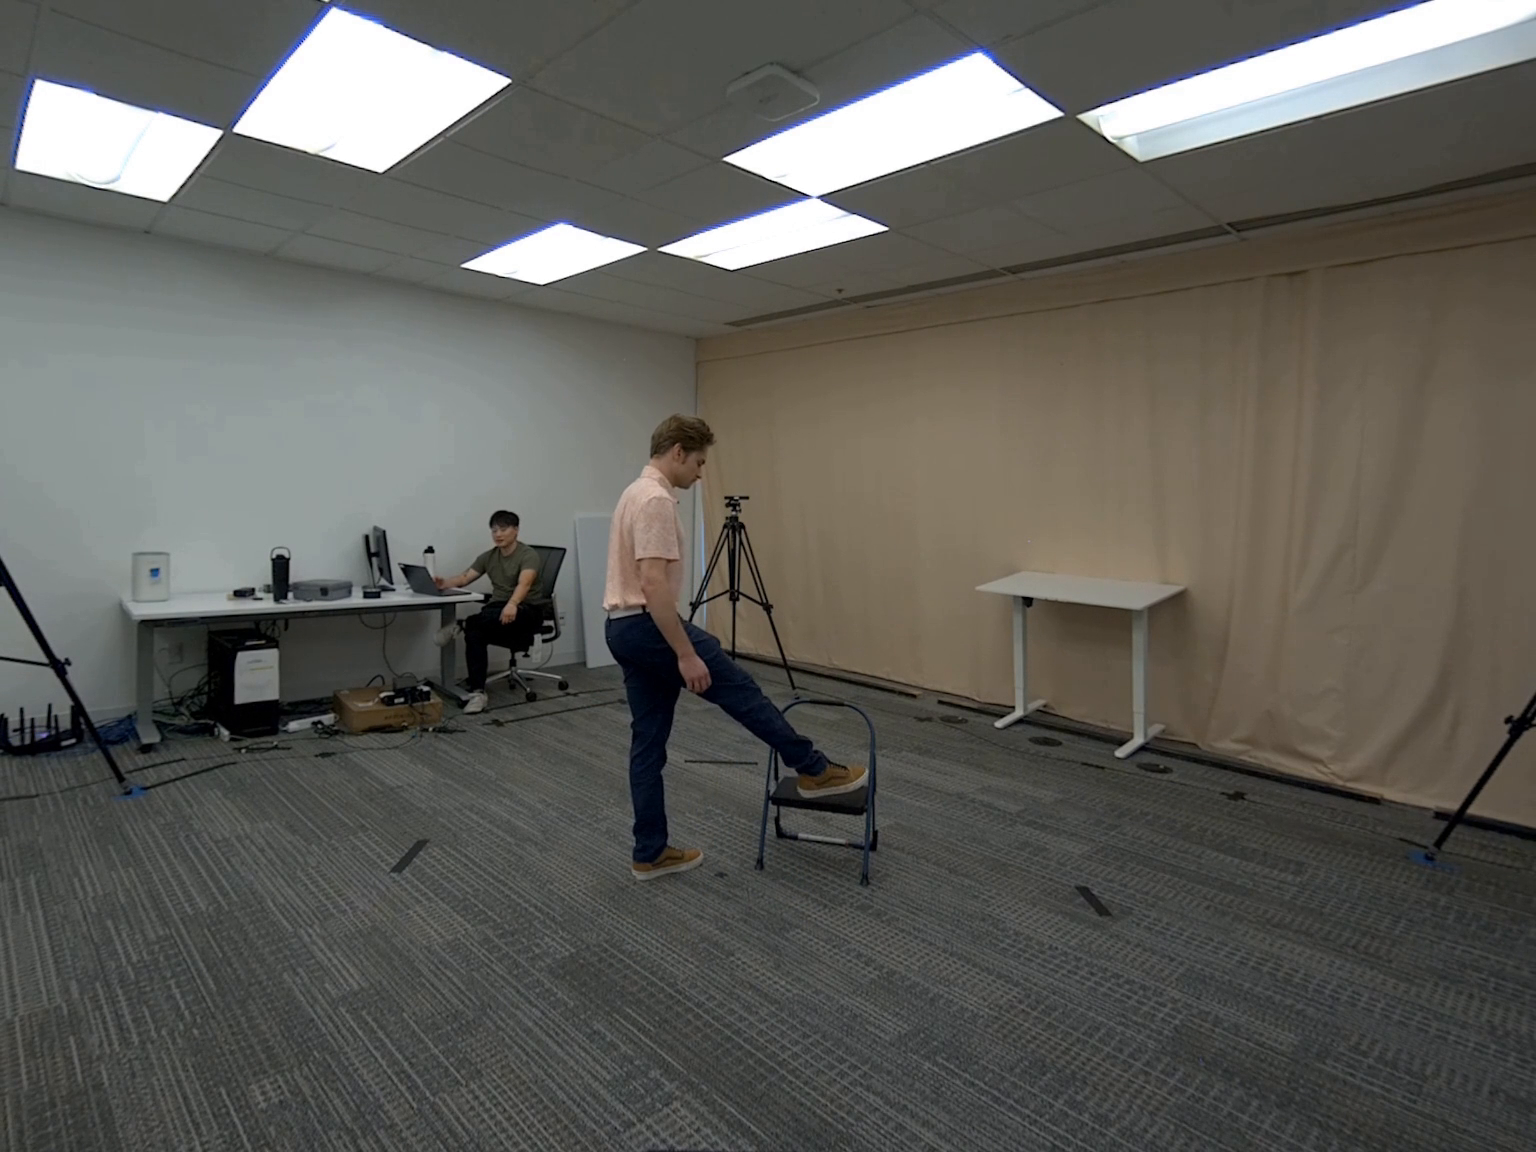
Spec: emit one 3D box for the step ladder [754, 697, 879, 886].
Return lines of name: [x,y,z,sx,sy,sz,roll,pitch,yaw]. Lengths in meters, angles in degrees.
step ladder: [0.200,0.796,3.254,0.436,0.605,0.346,2,3,15]
